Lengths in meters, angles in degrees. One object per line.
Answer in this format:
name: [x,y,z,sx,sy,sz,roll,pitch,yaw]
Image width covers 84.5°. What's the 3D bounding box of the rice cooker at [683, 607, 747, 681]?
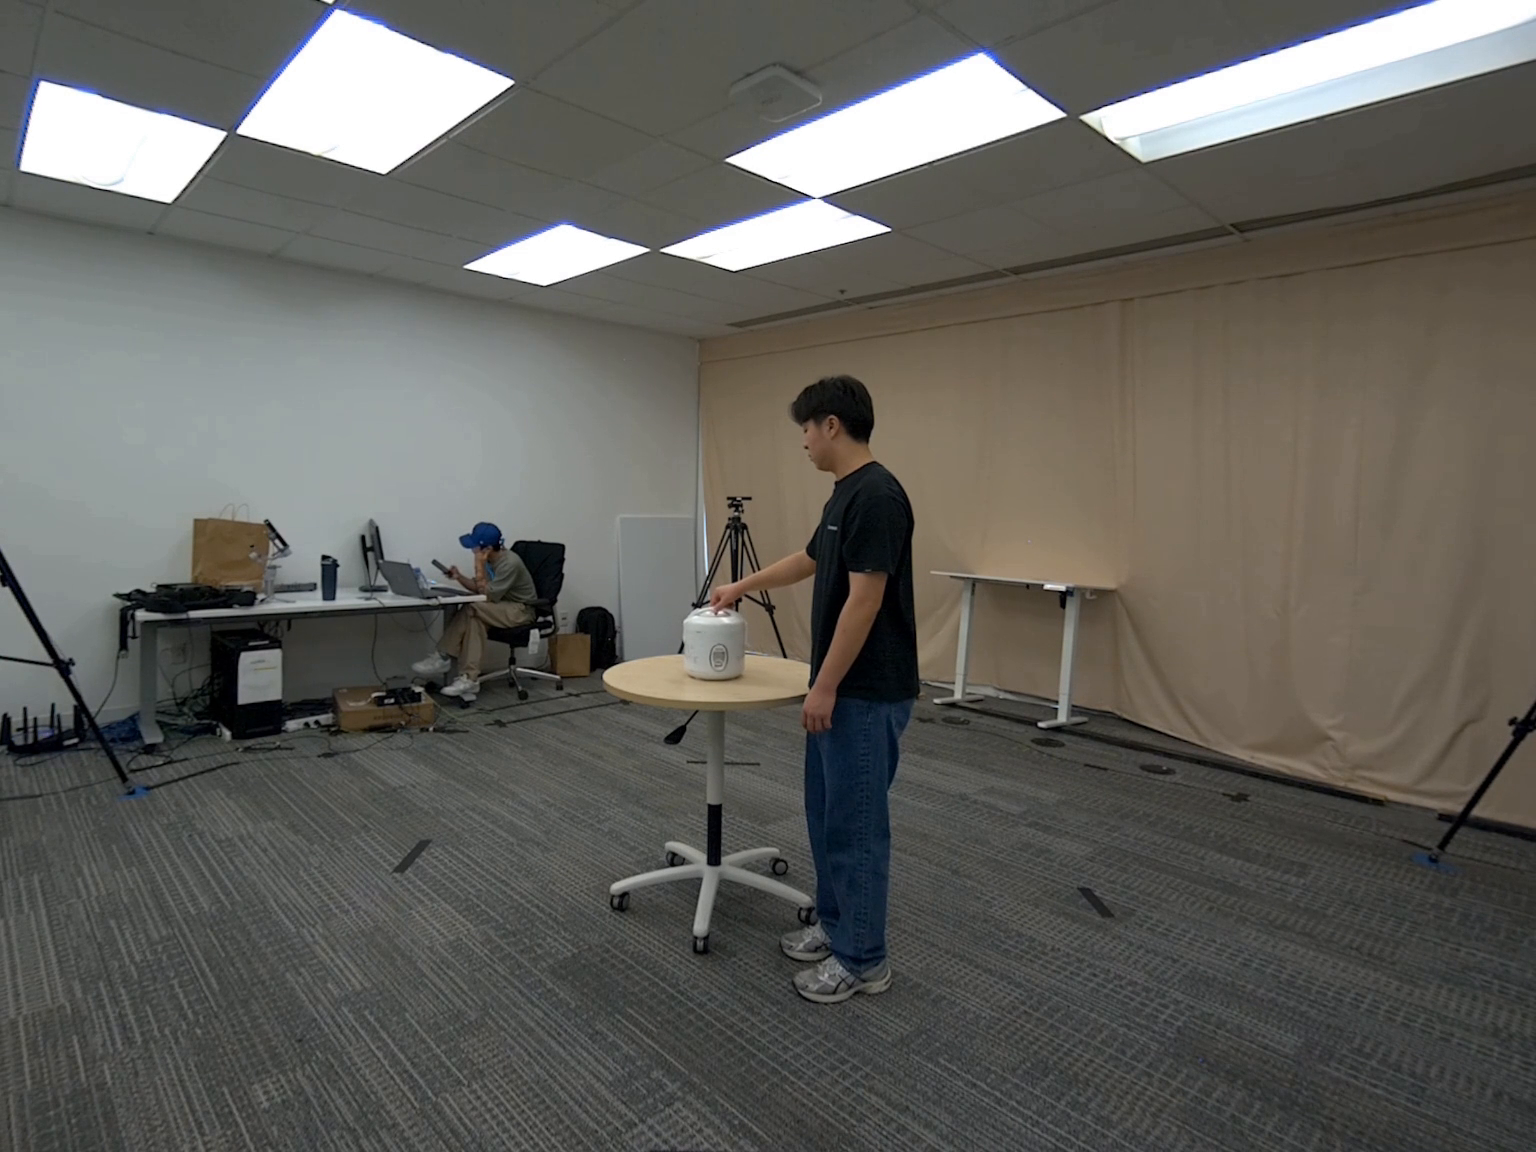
rice cooker: [-0.178,0.221,2.821,0.219,0.232,0.220,0,4,-10]
